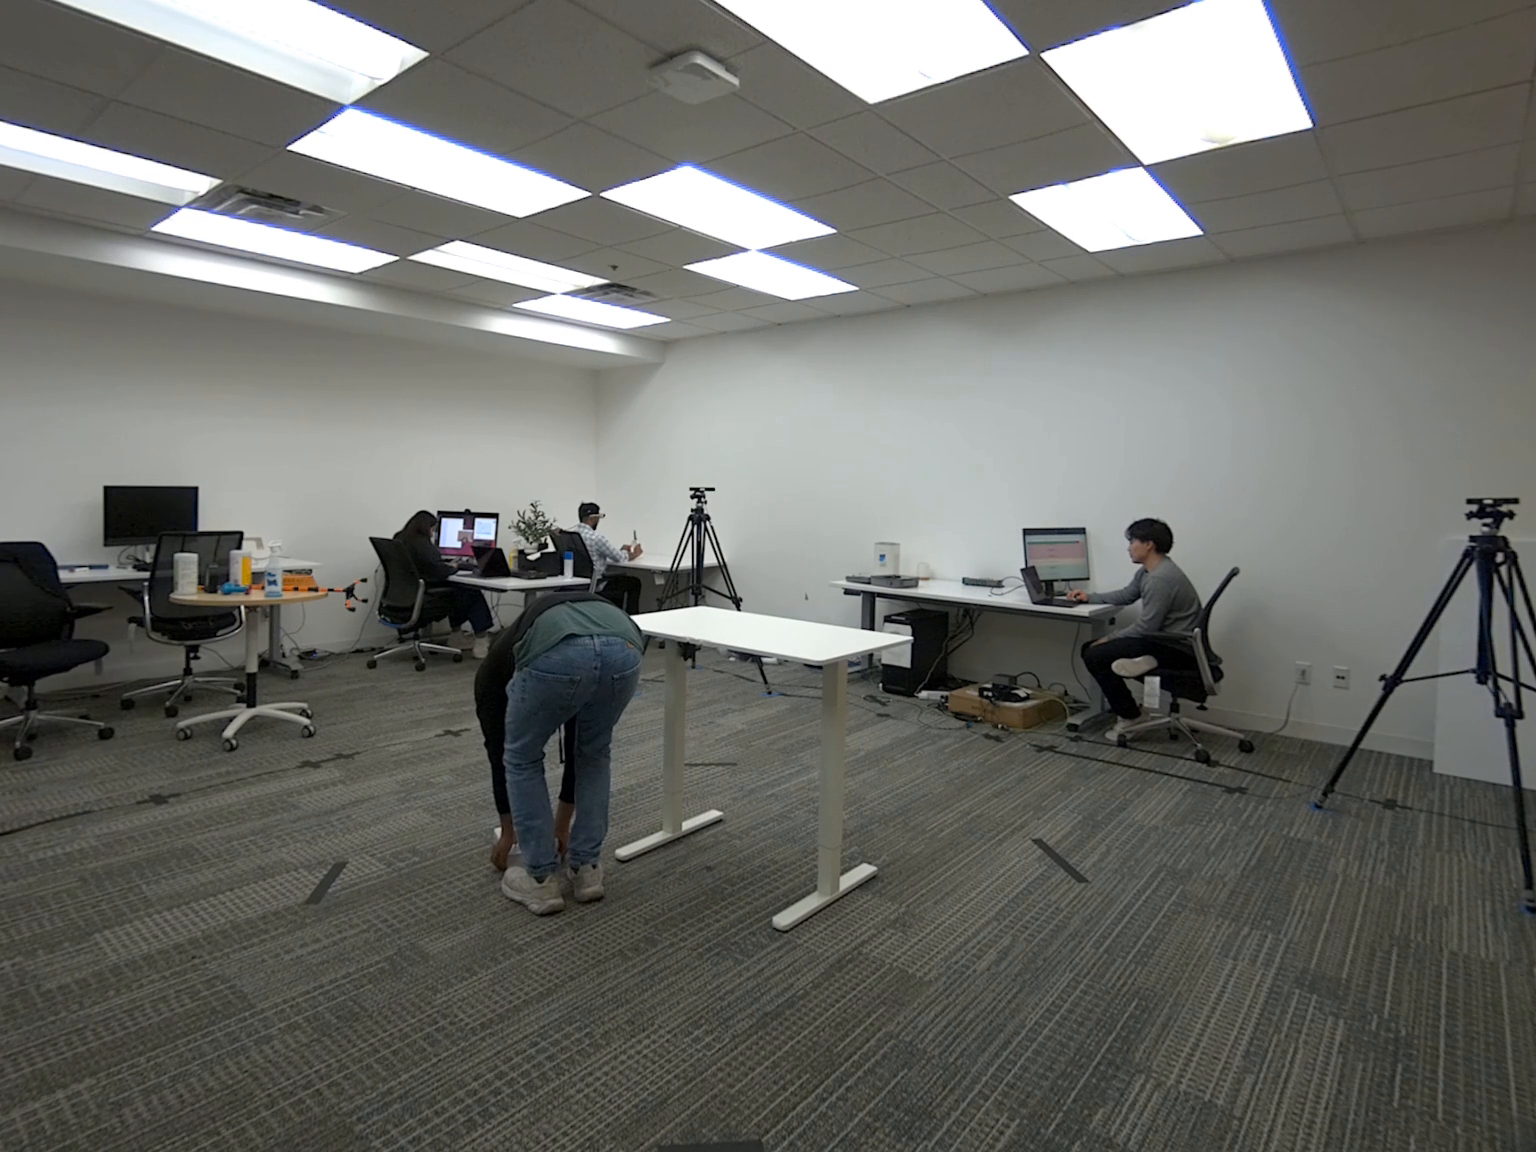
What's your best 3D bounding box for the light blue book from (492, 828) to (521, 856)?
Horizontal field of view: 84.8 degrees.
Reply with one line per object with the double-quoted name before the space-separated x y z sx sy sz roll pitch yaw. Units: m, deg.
"light blue book" -0.937 1.017 3.202 0.187 0.059 0.268 0 6 -25
